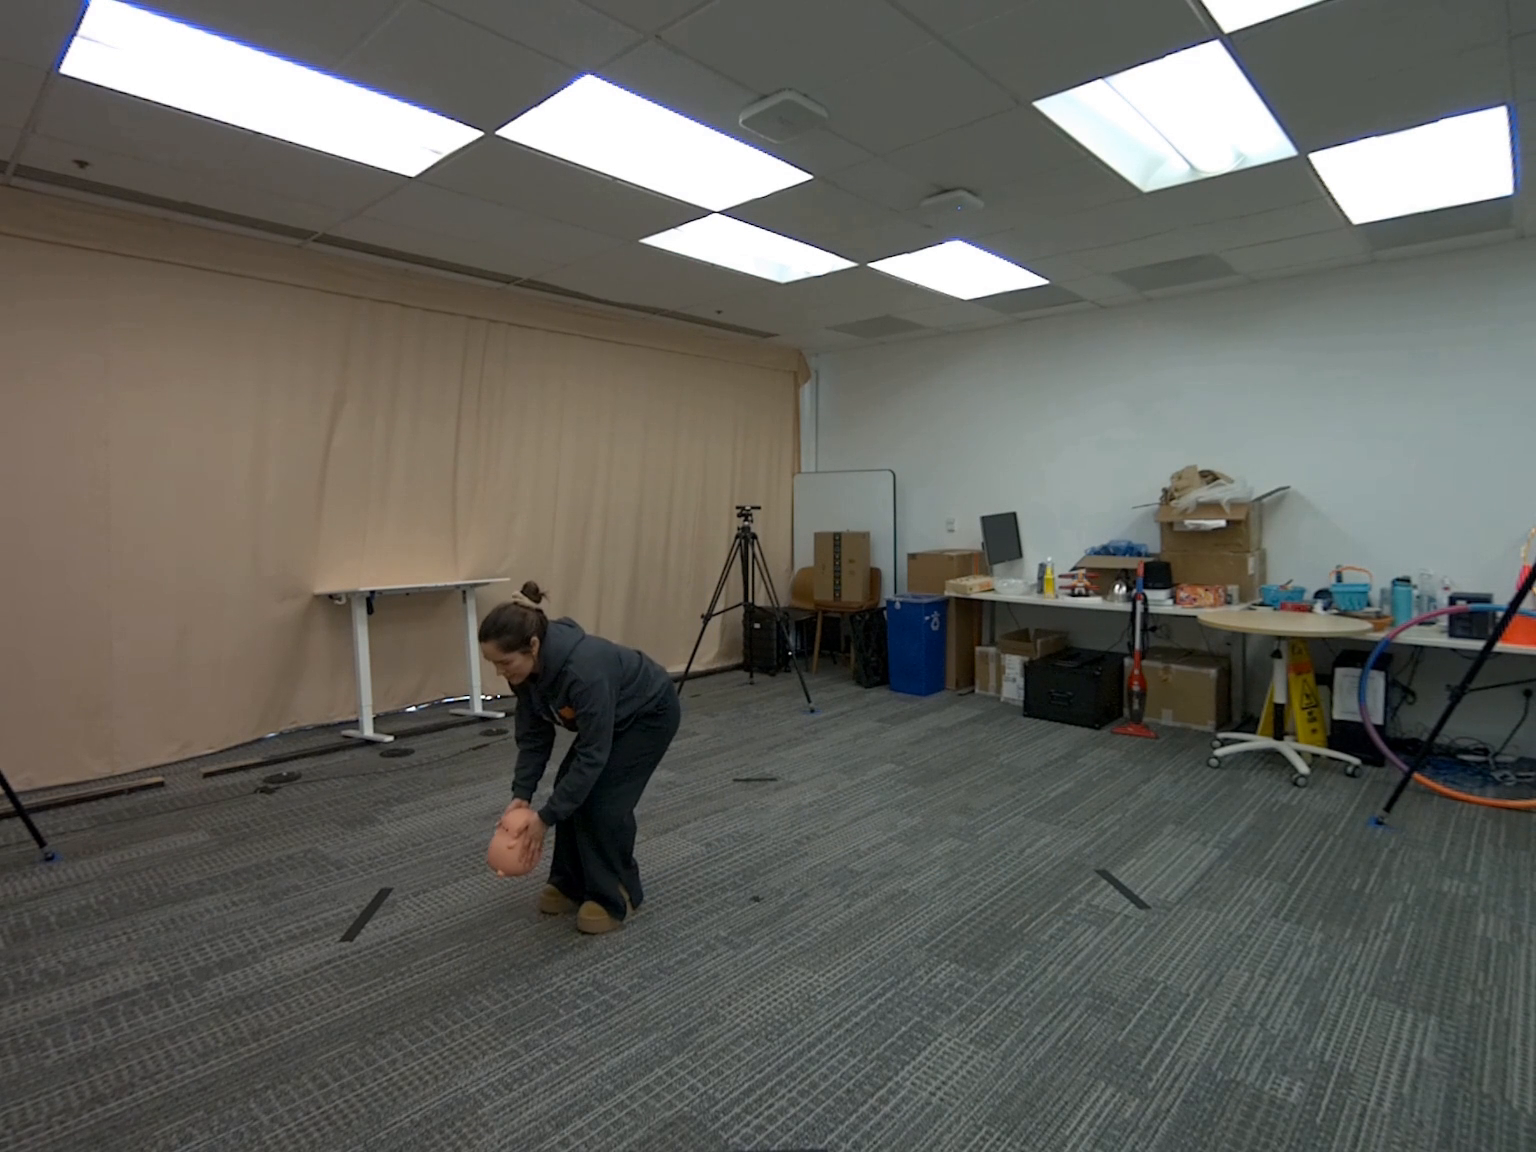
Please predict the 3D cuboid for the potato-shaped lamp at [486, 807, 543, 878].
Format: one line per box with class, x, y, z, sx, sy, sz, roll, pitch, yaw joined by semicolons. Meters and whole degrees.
potato-shaped lamp;-0.787;0.854;2.699;0.166;0.198;0.170;9;1;-38
